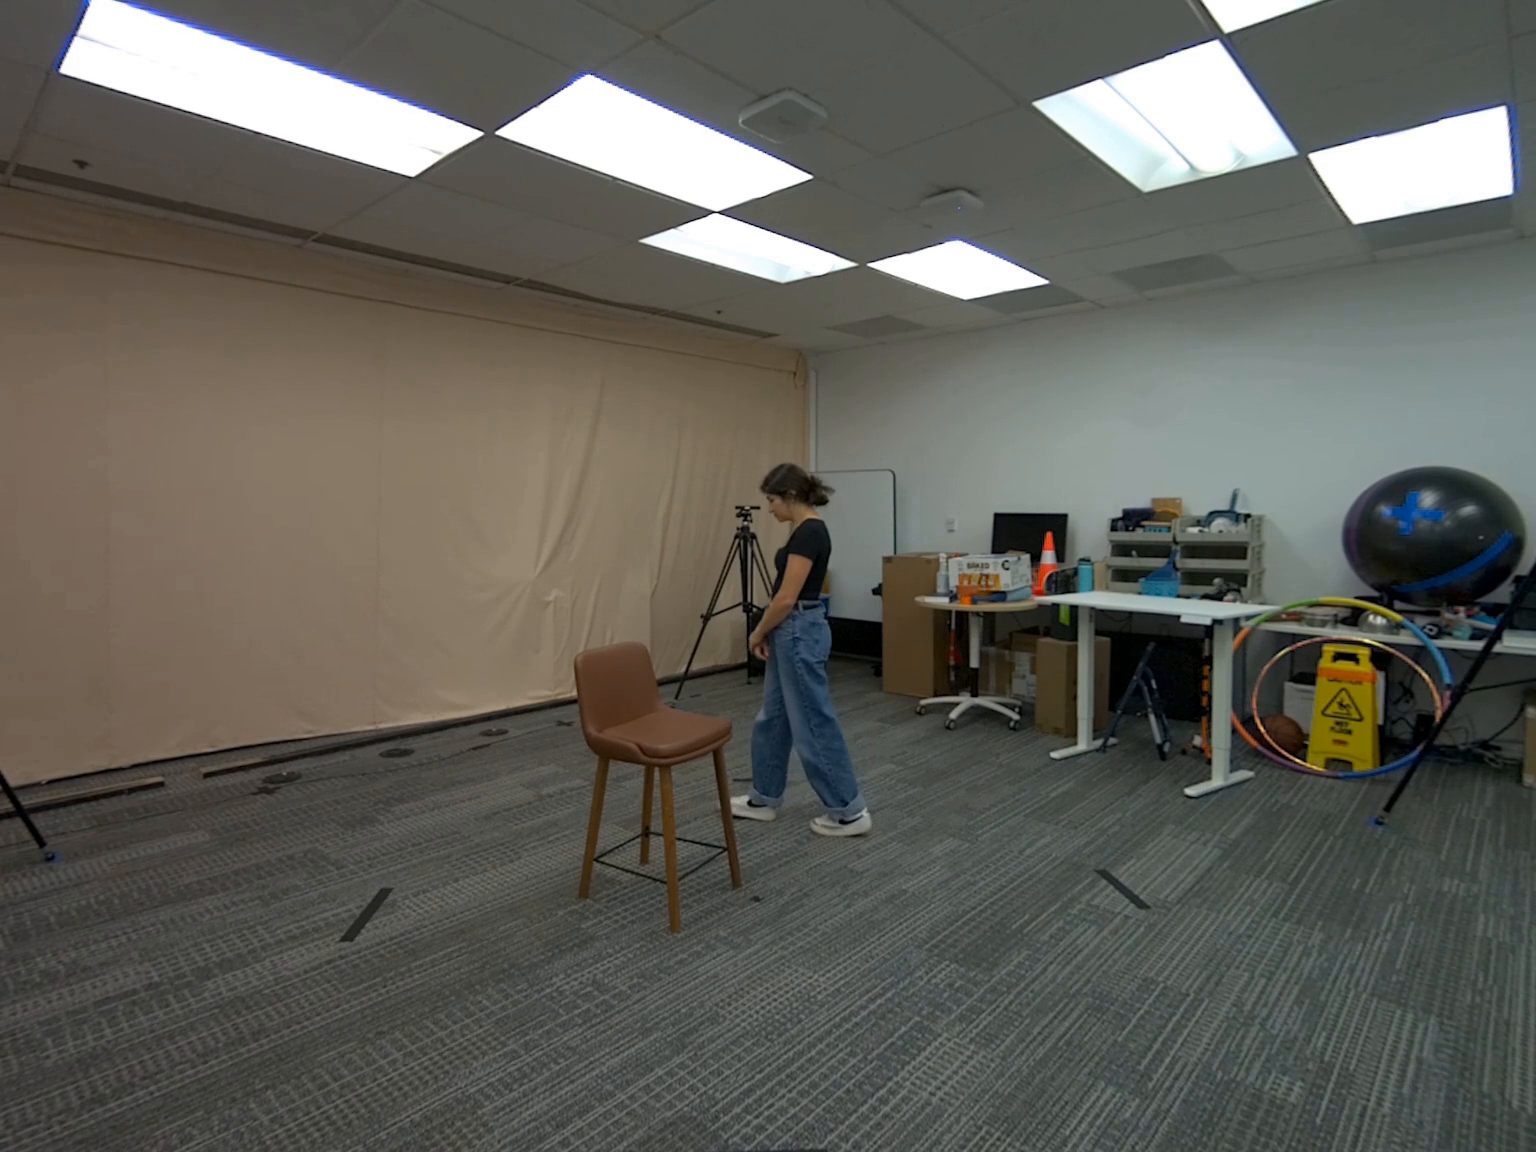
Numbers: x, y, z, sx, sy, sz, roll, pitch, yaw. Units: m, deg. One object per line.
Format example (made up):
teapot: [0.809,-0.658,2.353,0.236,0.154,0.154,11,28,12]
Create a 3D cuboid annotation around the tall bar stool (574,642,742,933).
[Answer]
tall bar stool: [-0.399,0.710,3.017,0.481,0.888,0.444,0,3,33]
